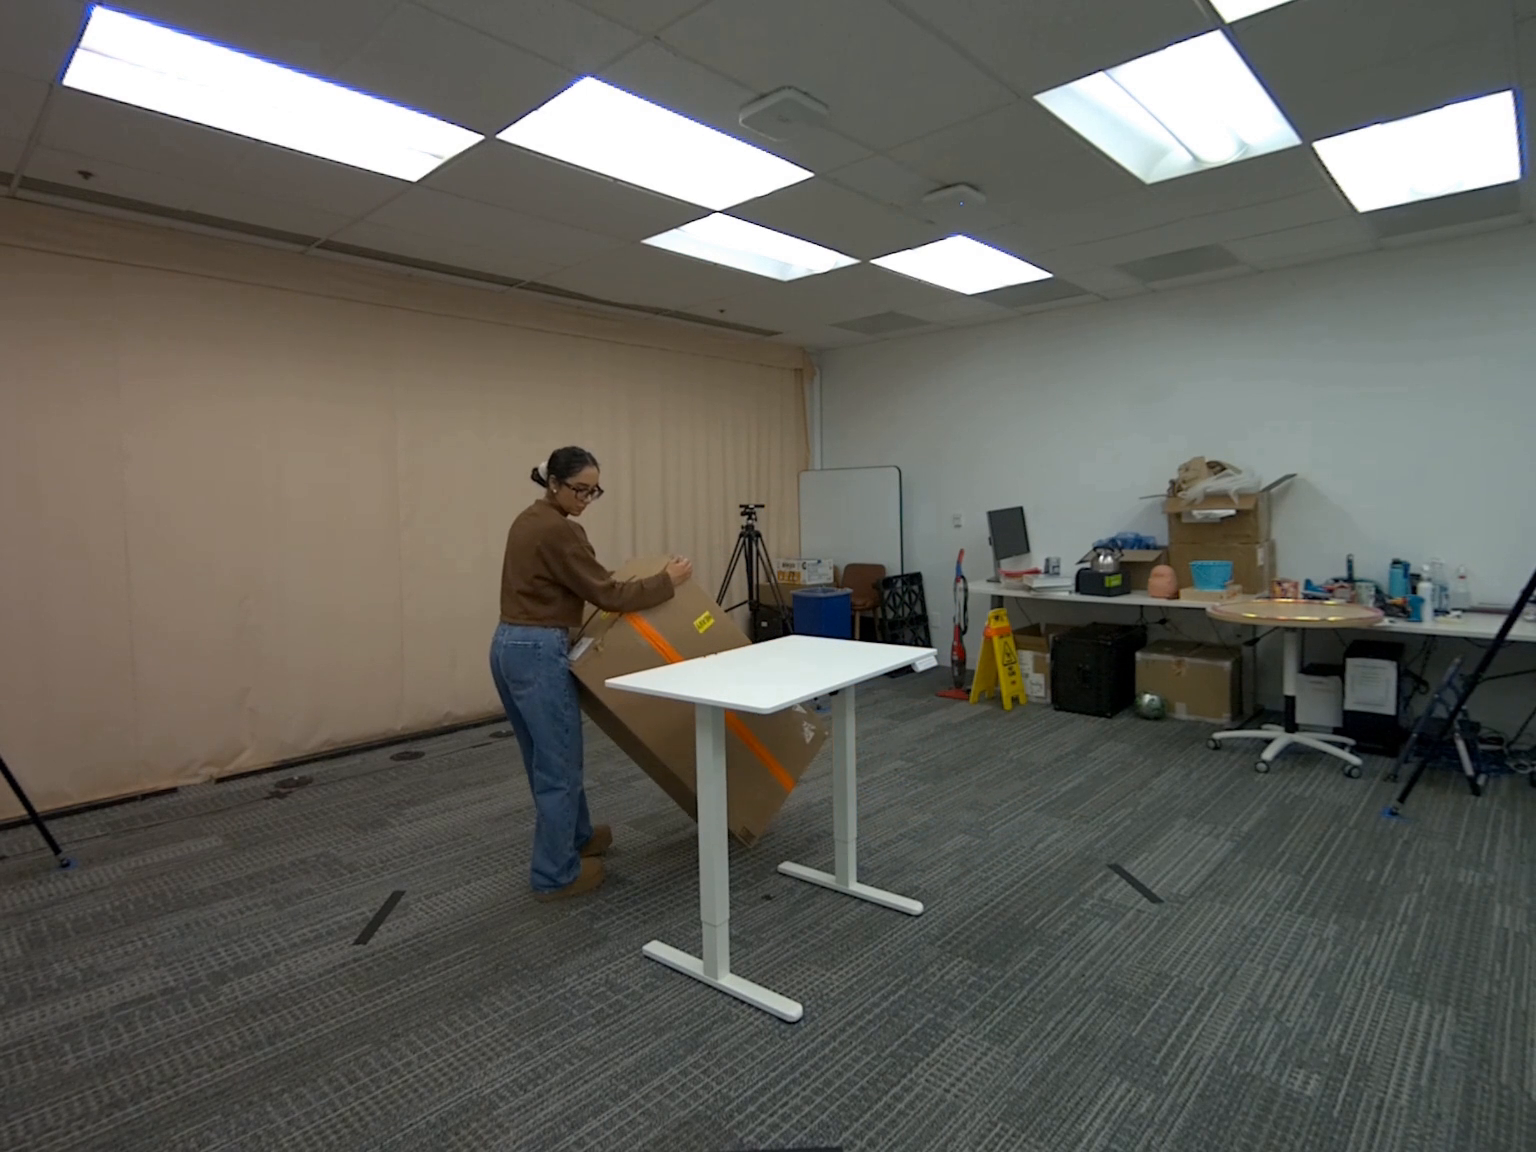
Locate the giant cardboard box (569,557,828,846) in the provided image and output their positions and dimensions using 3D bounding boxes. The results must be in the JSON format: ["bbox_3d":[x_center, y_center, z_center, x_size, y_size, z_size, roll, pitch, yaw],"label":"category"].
[{"bbox_3d":[-0.312,0.493,3.372,0.574,1.004,0.438,-49,21,-24],"label":"giant cardboard box"}]
